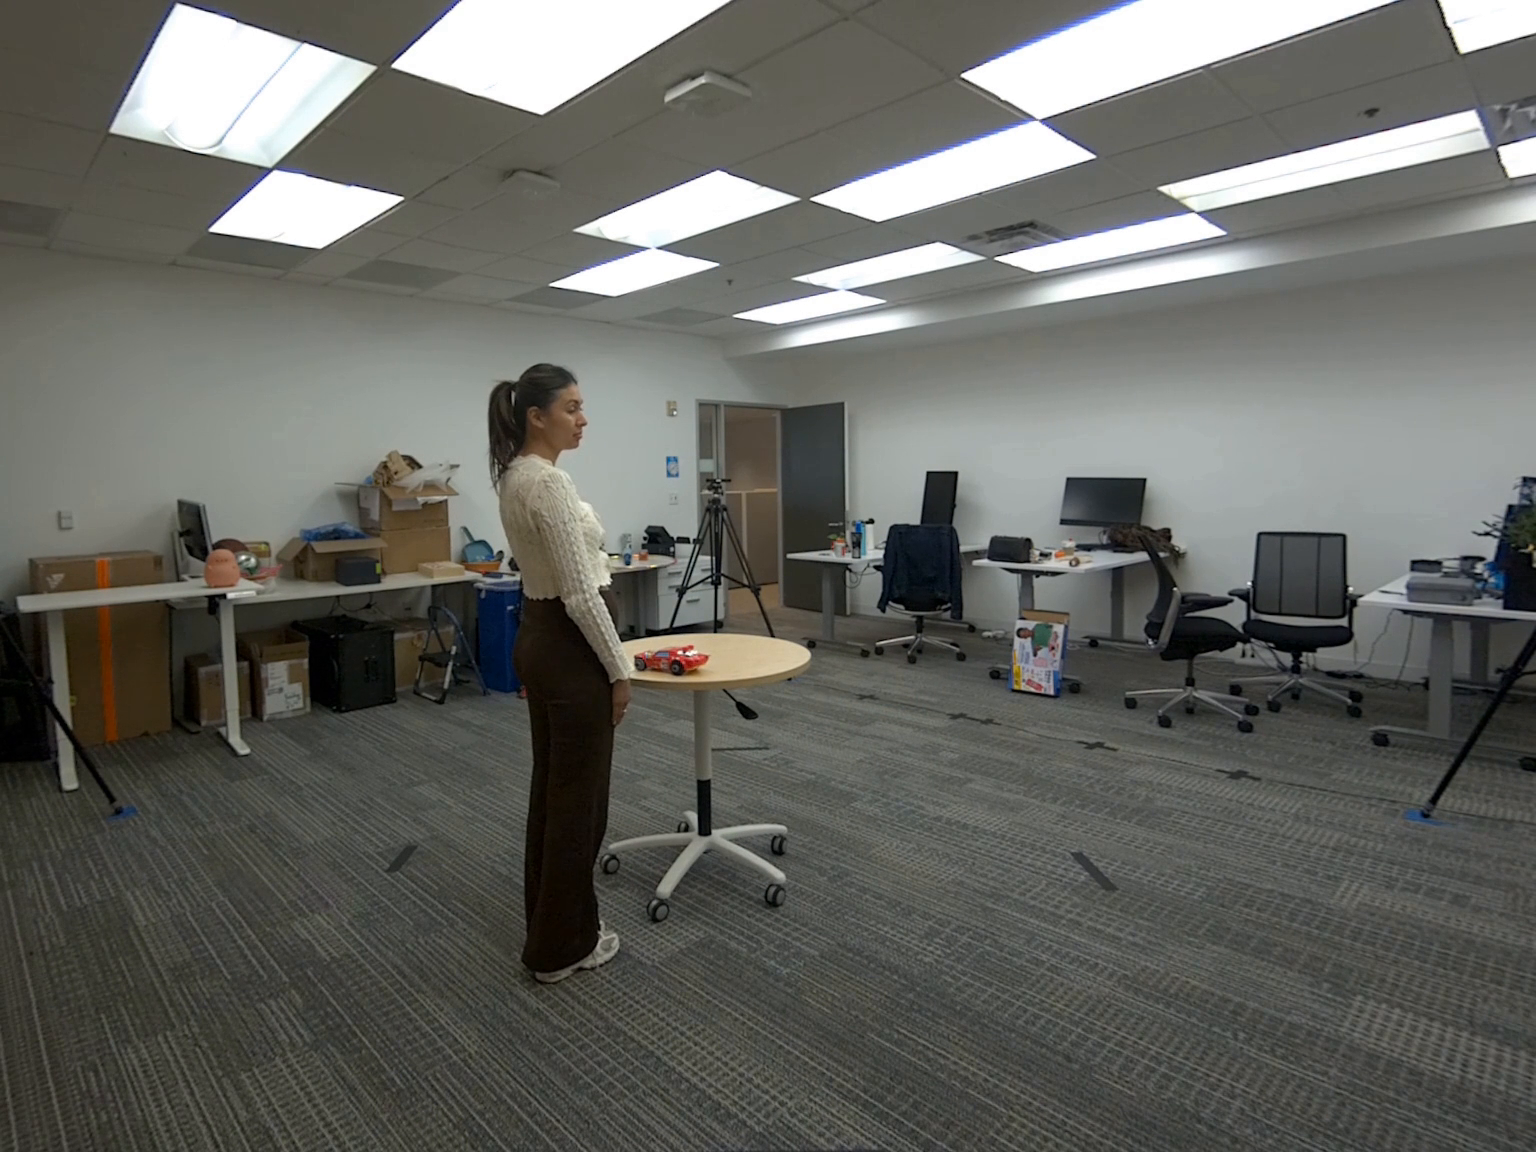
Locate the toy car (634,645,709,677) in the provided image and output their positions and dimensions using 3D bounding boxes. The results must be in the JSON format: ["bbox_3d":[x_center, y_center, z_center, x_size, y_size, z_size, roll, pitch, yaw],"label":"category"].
[{"bbox_3d":[-0.304,0.274,2.756,0.260,0.083,0.127,-11,1,31],"label":"toy car"}]
